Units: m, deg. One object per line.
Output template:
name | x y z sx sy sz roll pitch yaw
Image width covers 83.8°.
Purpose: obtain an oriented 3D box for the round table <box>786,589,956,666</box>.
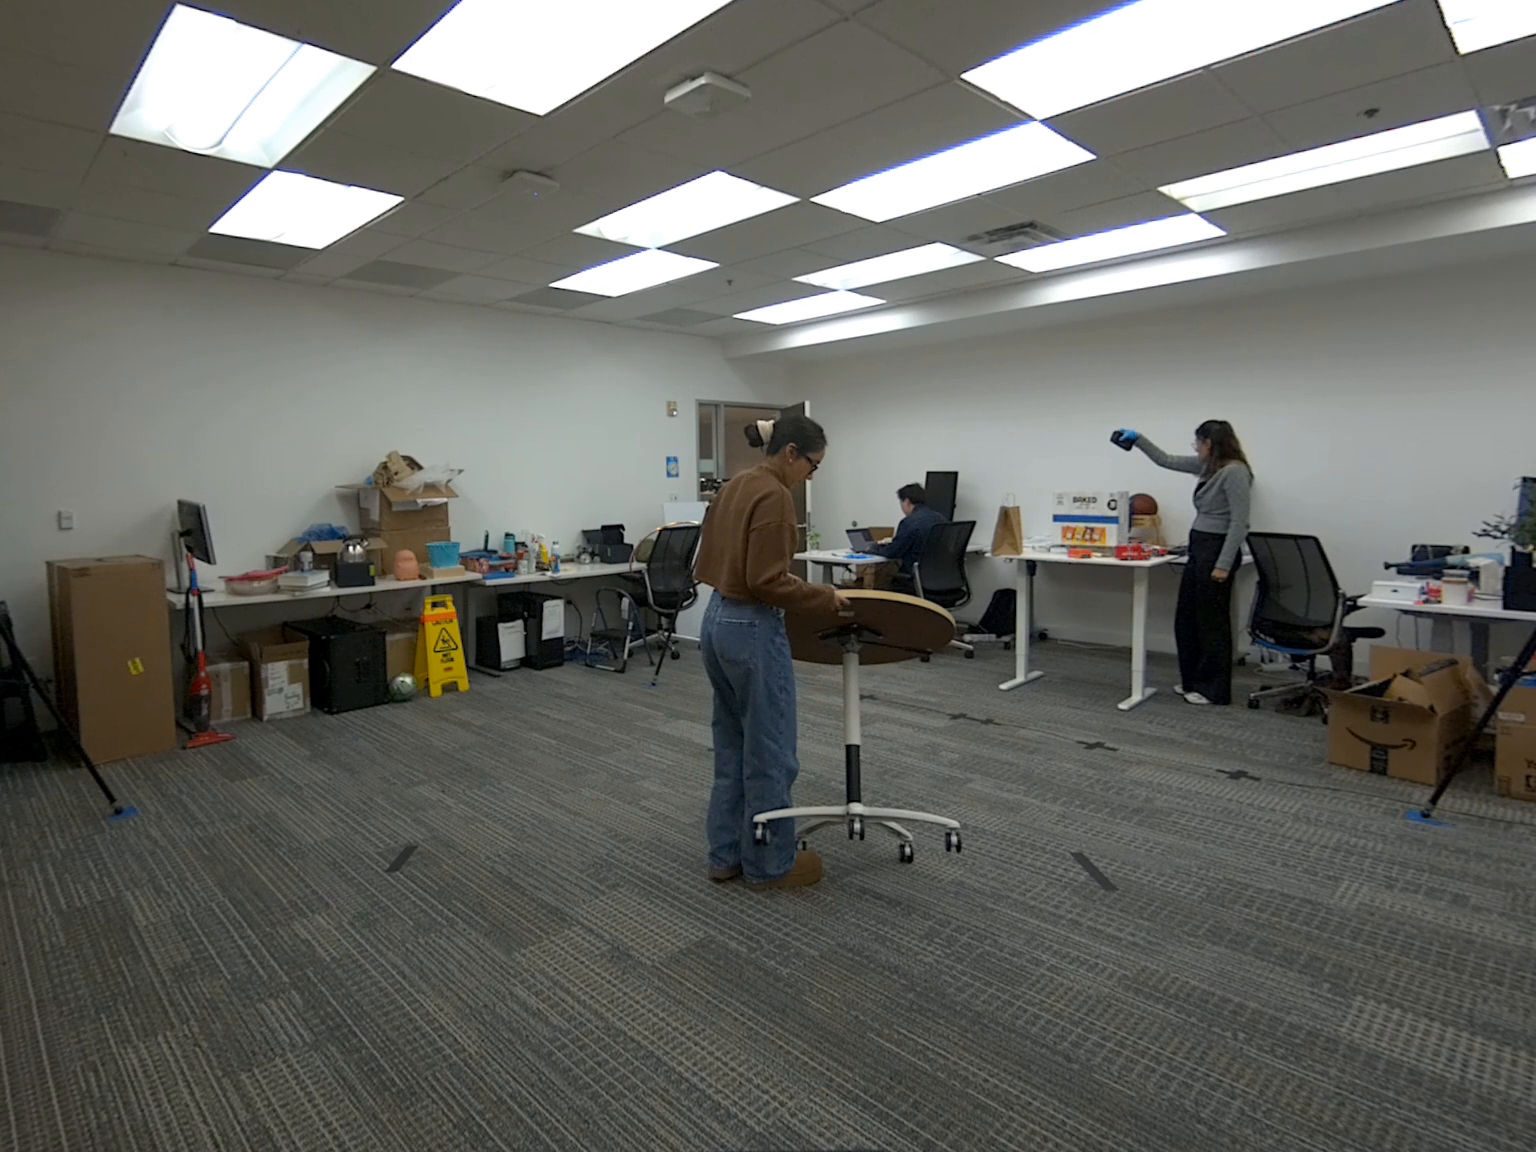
round table | 0.314 0.562 3.029 0.764 0.810 0.749 2 -25 -1
